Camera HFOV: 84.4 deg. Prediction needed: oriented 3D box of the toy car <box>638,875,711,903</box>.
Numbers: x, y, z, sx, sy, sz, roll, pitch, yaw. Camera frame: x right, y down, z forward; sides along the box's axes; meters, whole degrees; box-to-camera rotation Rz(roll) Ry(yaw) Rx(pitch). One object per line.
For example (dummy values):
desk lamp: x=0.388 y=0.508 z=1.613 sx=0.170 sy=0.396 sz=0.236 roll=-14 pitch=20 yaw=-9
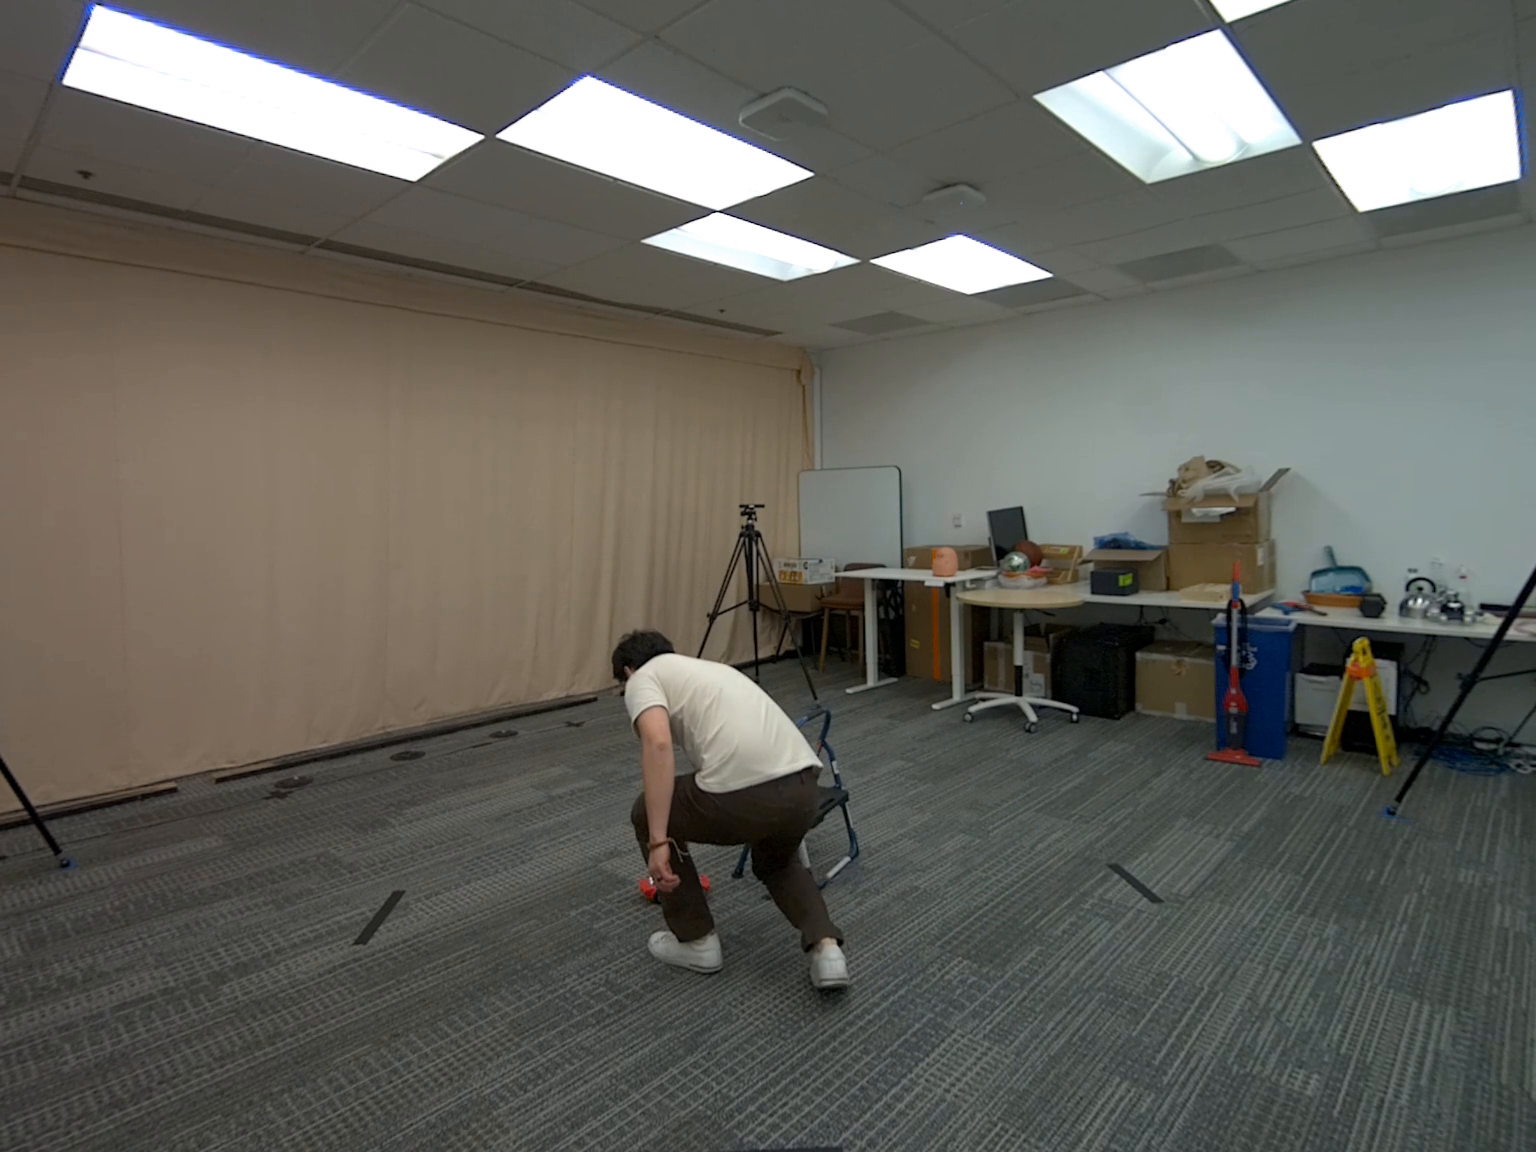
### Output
toy car: x=-0.344 y=1.119 z=3.001 sx=0.251 sy=0.083 sz=0.132 roll=10 pitch=2 yaw=-12
